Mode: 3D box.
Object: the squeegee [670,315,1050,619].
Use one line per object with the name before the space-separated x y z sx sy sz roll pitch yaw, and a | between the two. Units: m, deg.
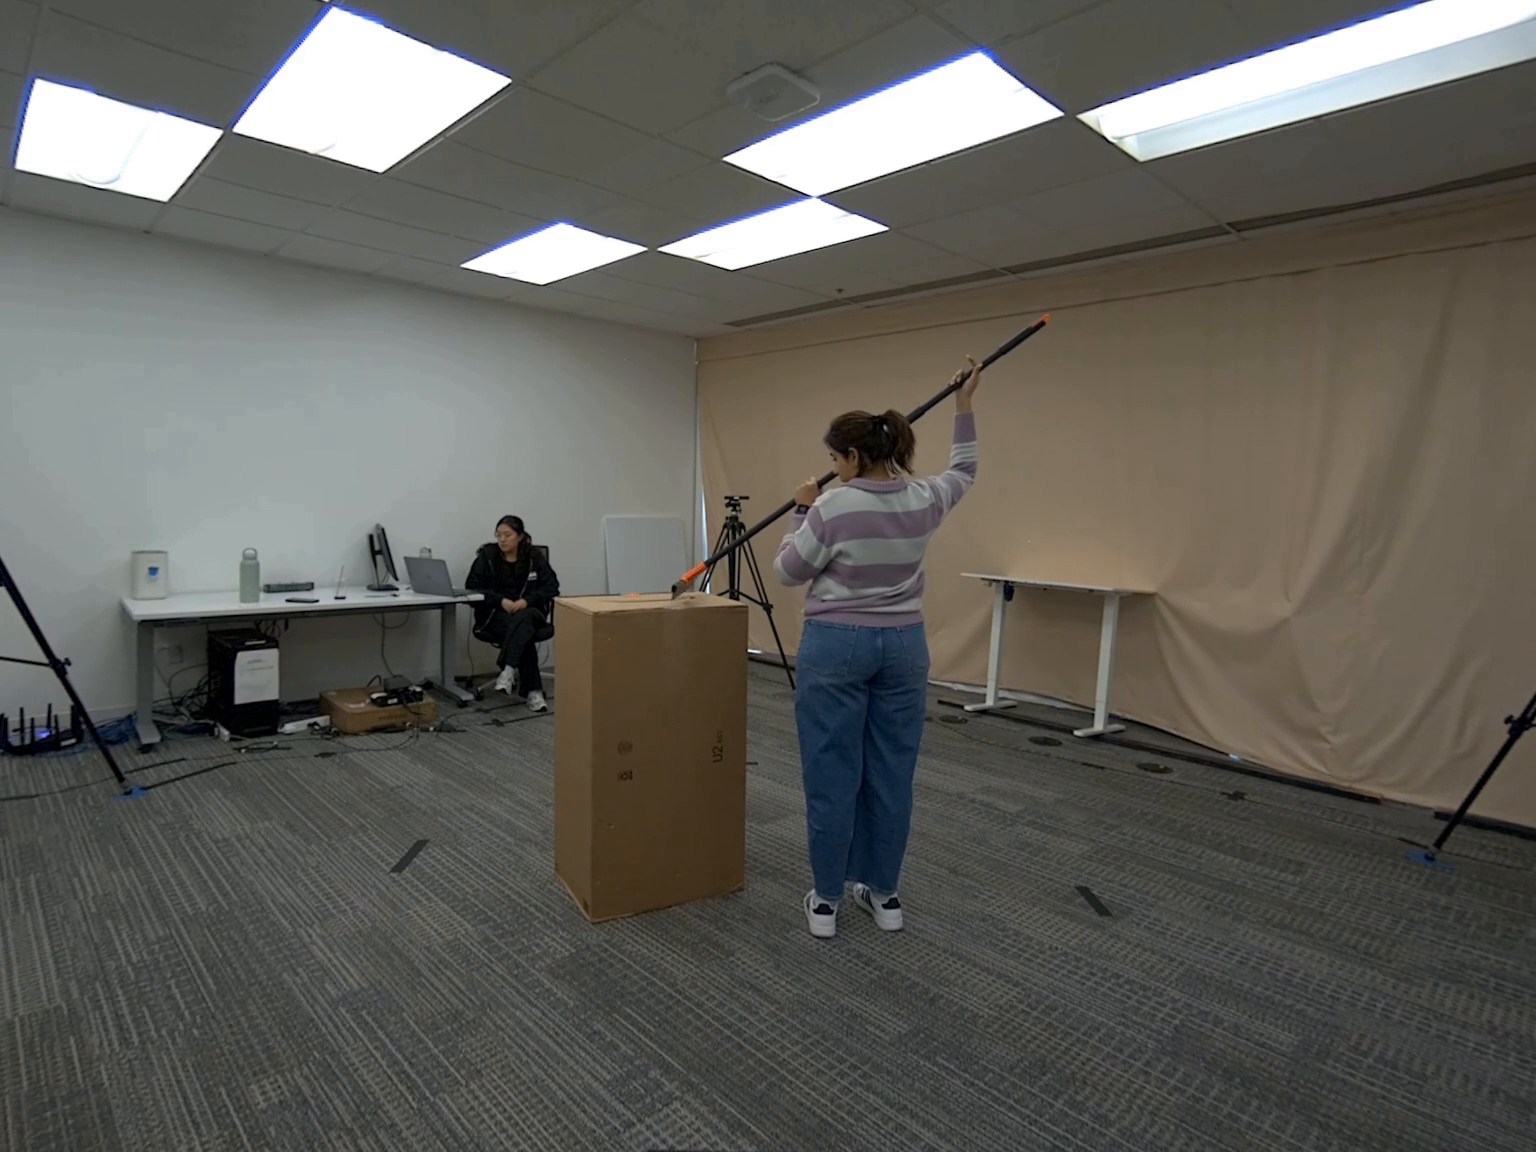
squeegee | 0.291 -0.405 2.896 1.539 0.053 0.439 -37 6 8
